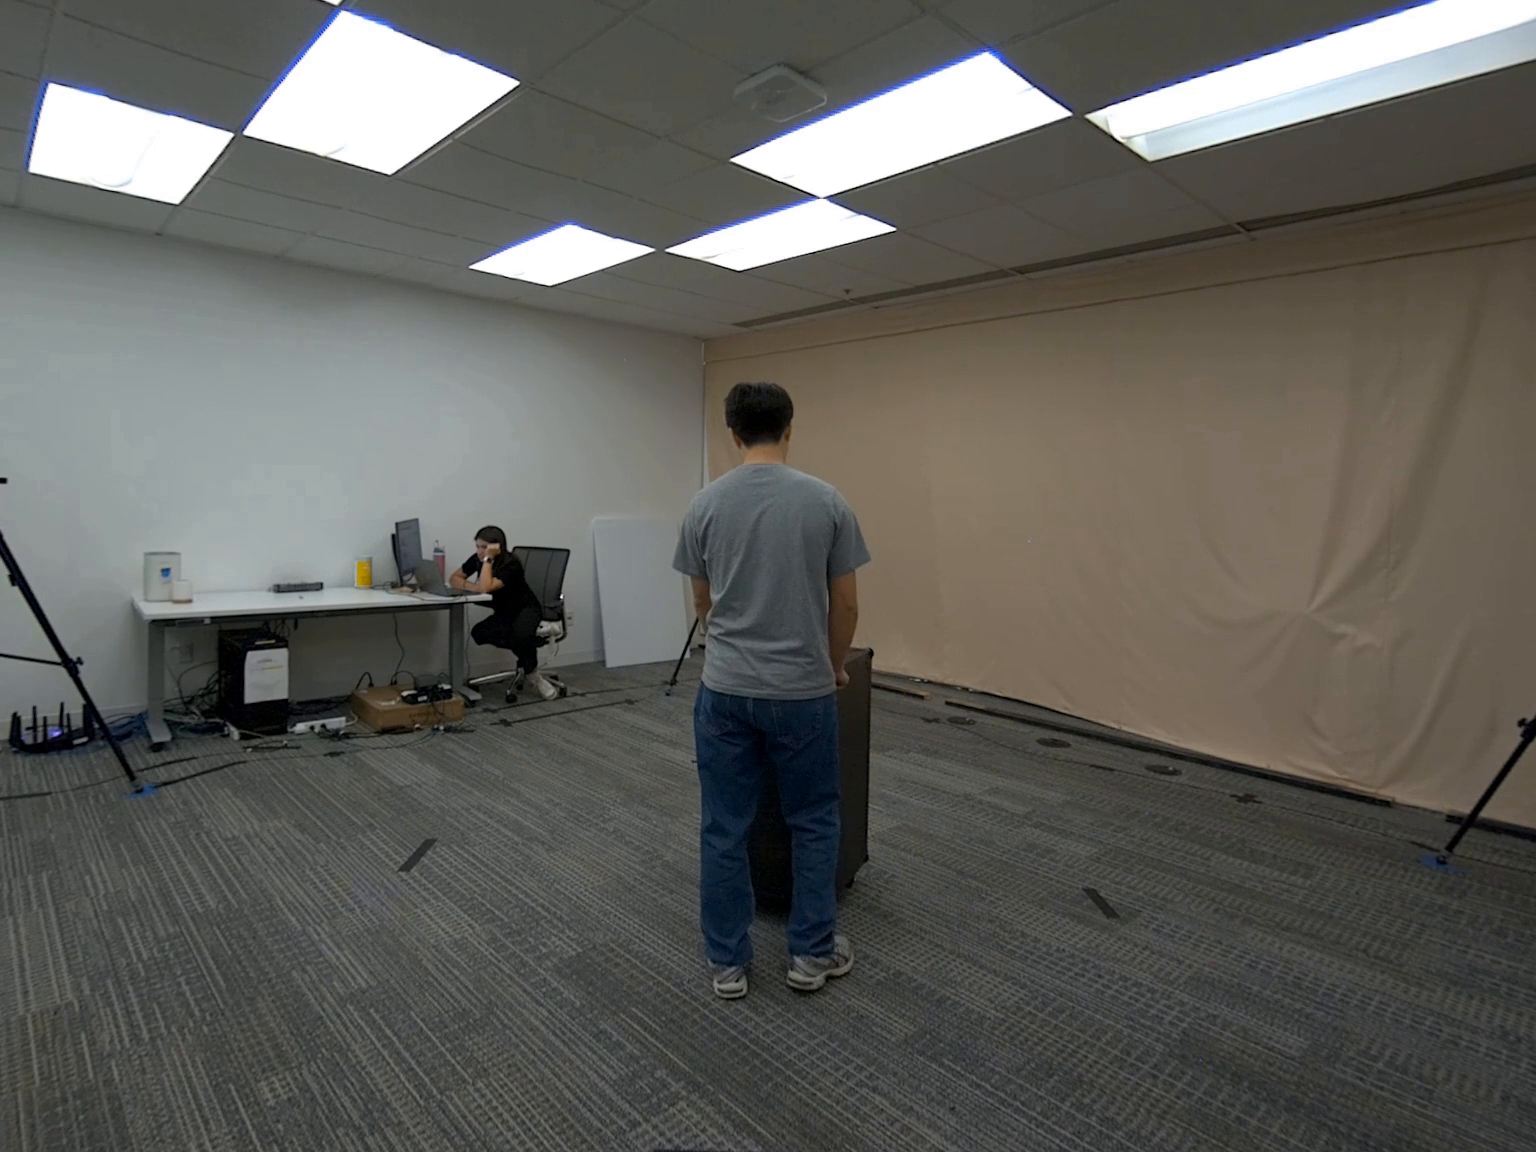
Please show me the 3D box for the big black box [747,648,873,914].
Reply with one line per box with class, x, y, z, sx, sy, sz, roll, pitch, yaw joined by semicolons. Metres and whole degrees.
big black box;0.106;0.706;2.953;0.404;0.859;0.513;2;4;25
